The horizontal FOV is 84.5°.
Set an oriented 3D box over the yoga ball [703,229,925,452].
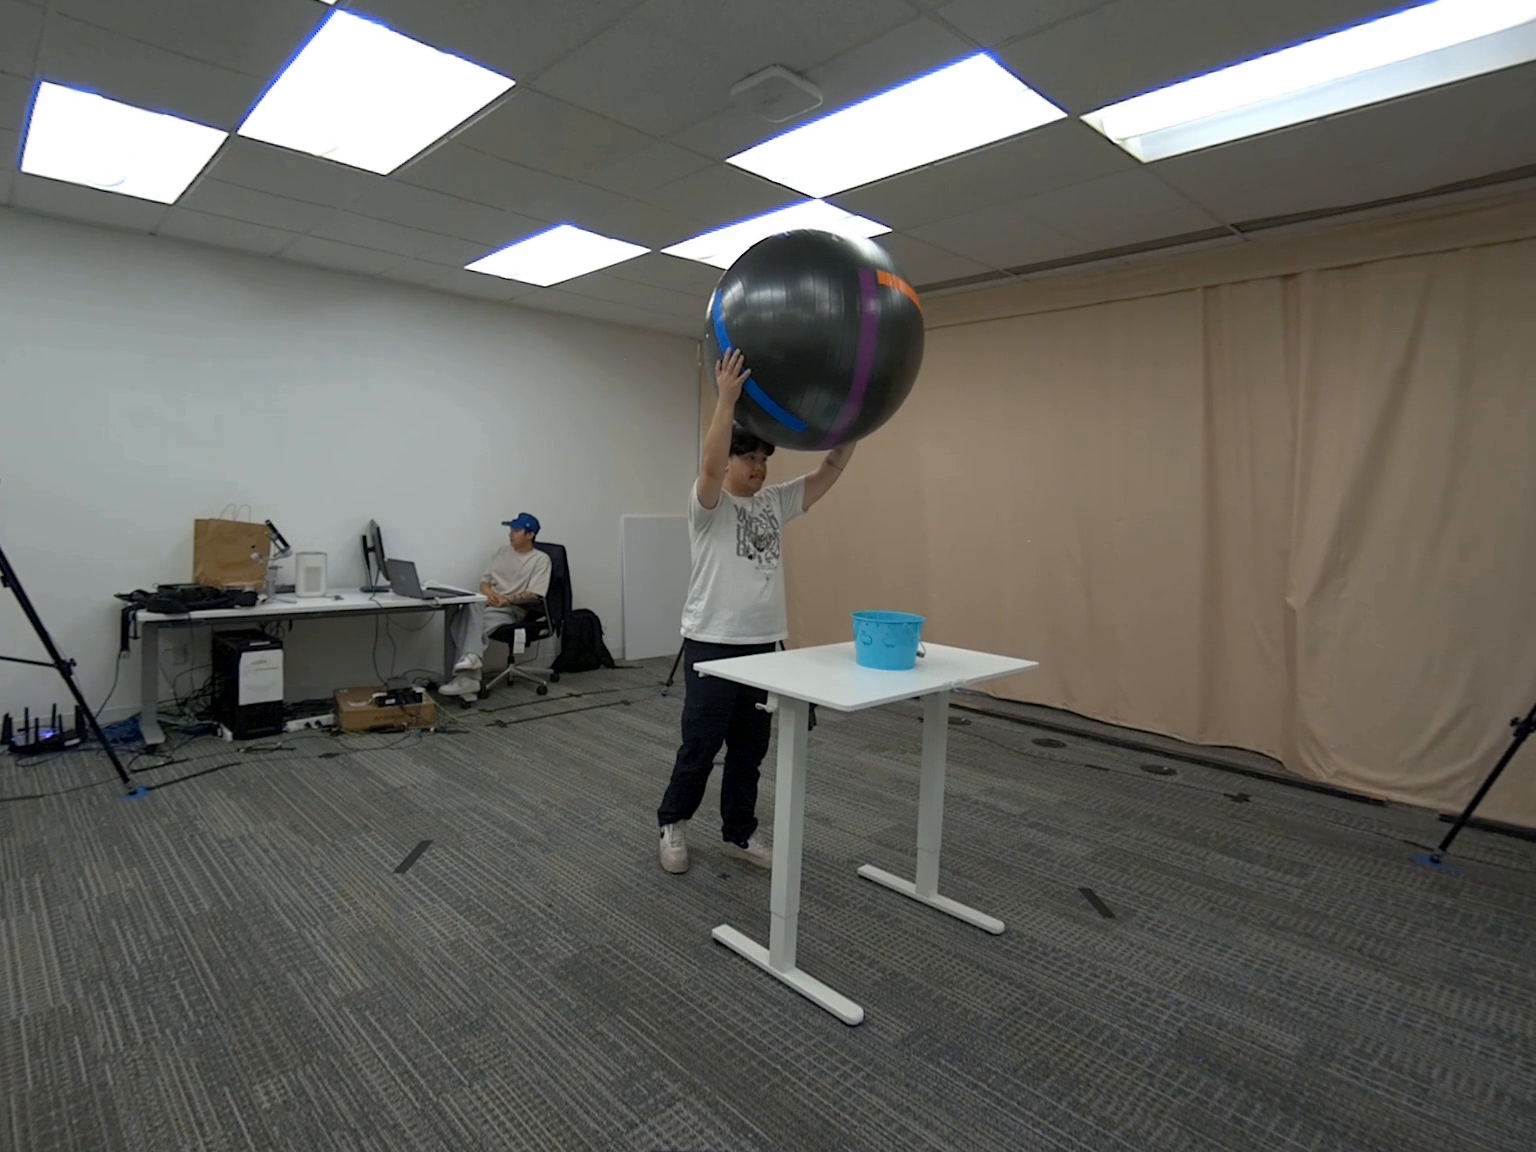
[{"bbox_3d":[0.142,-0.804,2.903,0.757,0.756,0.761,1,4,-1],"label":"yoga ball"}]
